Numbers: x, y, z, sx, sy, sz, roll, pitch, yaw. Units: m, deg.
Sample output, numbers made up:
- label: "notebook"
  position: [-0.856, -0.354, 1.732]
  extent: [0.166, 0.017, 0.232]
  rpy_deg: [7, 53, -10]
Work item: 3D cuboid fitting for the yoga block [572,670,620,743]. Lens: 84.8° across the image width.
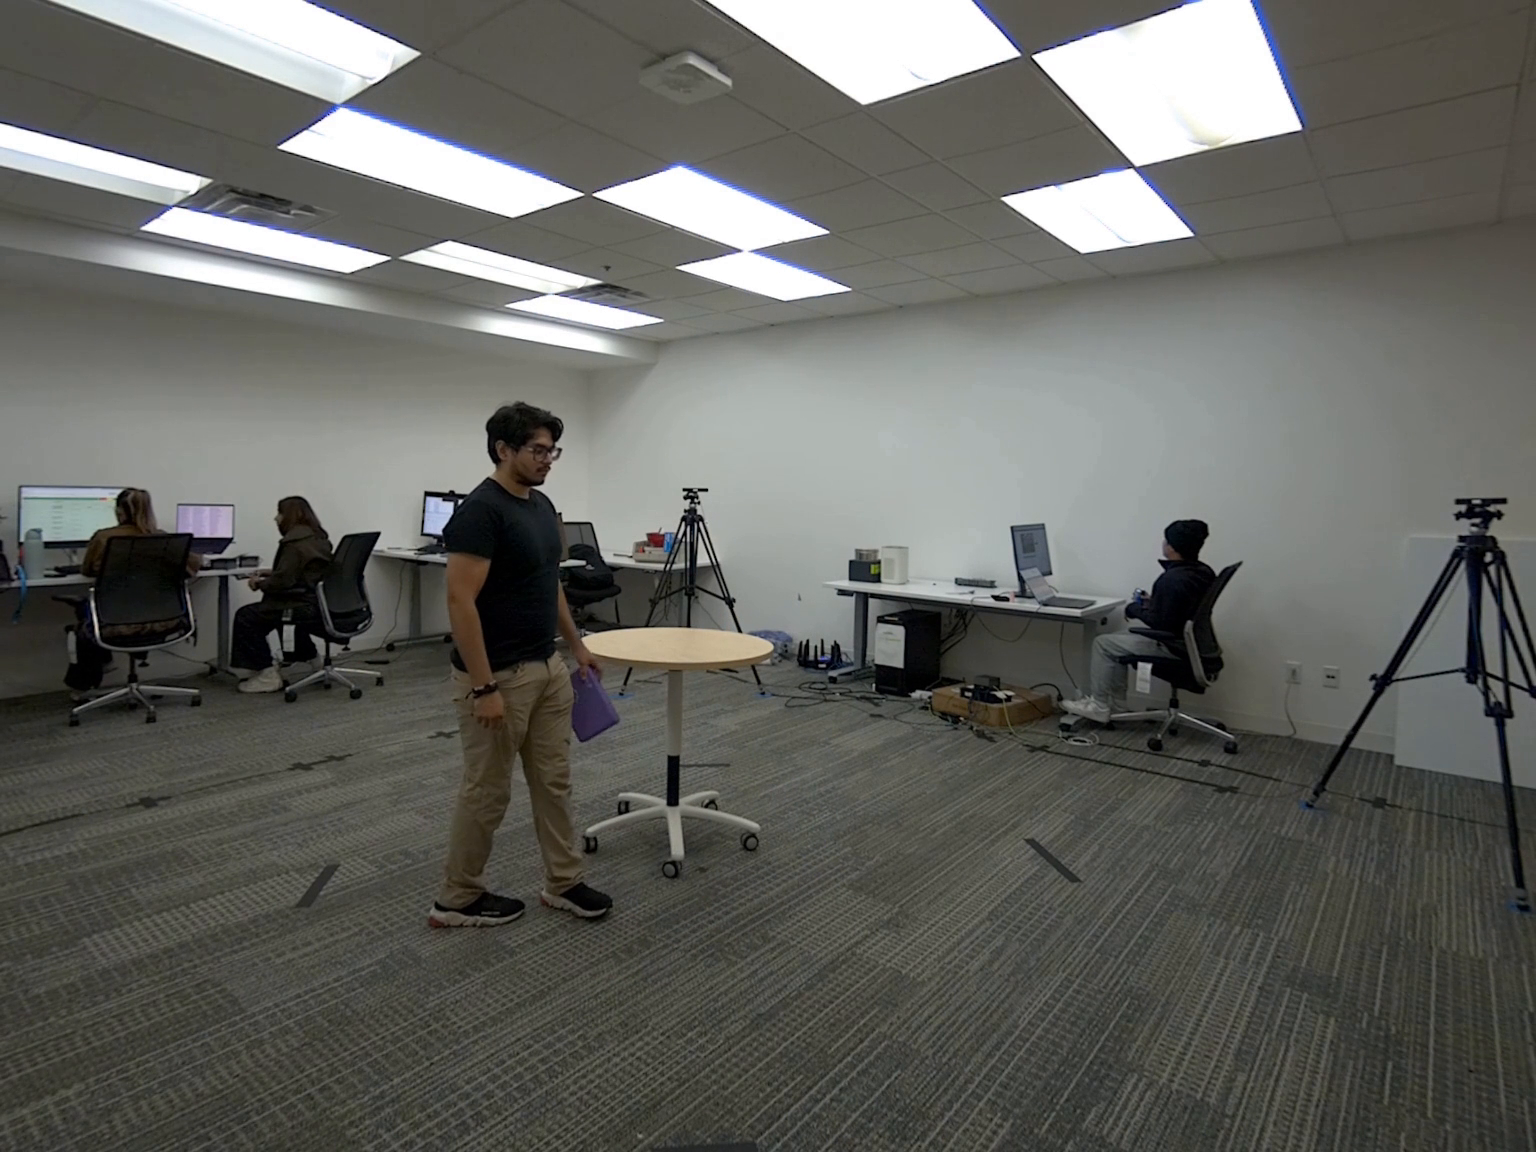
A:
- label: "yoga block"
  position: [-0.653, 0.433, 2.942]
  extent: [0.149, 0.232, 0.075]
  rpy_deg: [-28, -9, 0]
